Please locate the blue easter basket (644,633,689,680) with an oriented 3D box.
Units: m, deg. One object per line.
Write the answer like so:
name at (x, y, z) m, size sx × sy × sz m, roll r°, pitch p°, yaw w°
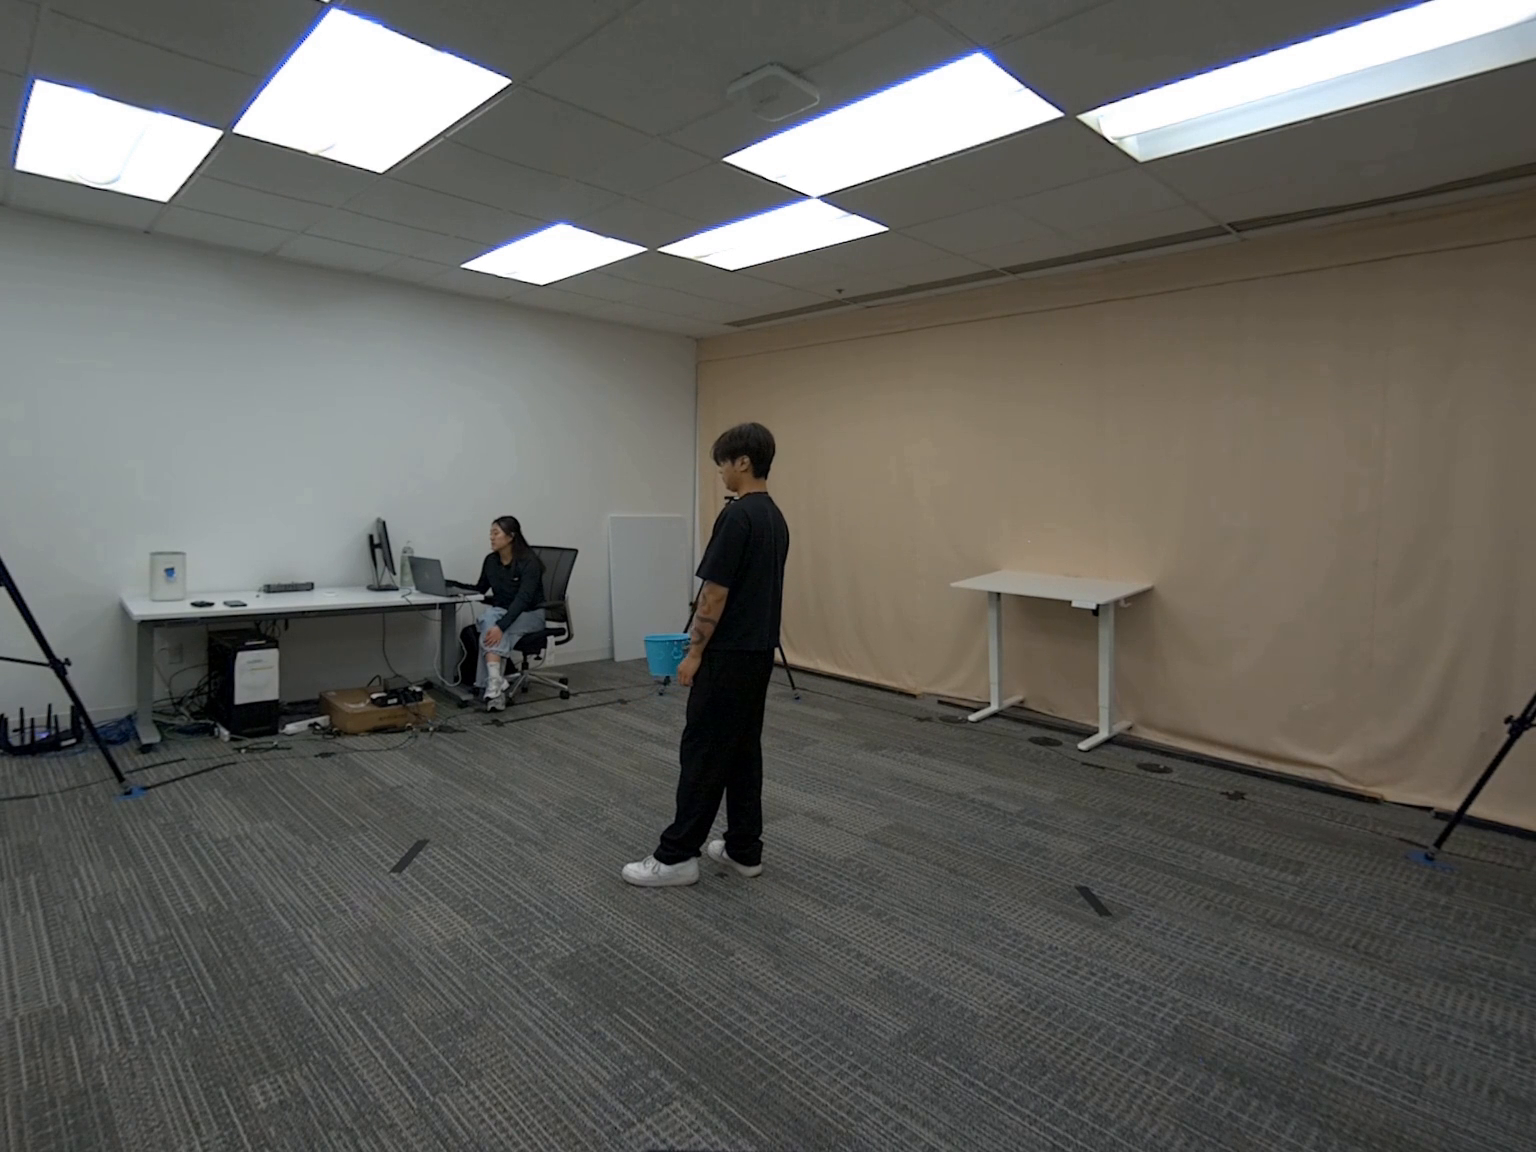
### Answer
blue easter basket at (-0.410, 0.341, 3.580) m, size 0.243 × 0.156 × 0.244 m, roll -2°, pitch 2°, yaw -1°
